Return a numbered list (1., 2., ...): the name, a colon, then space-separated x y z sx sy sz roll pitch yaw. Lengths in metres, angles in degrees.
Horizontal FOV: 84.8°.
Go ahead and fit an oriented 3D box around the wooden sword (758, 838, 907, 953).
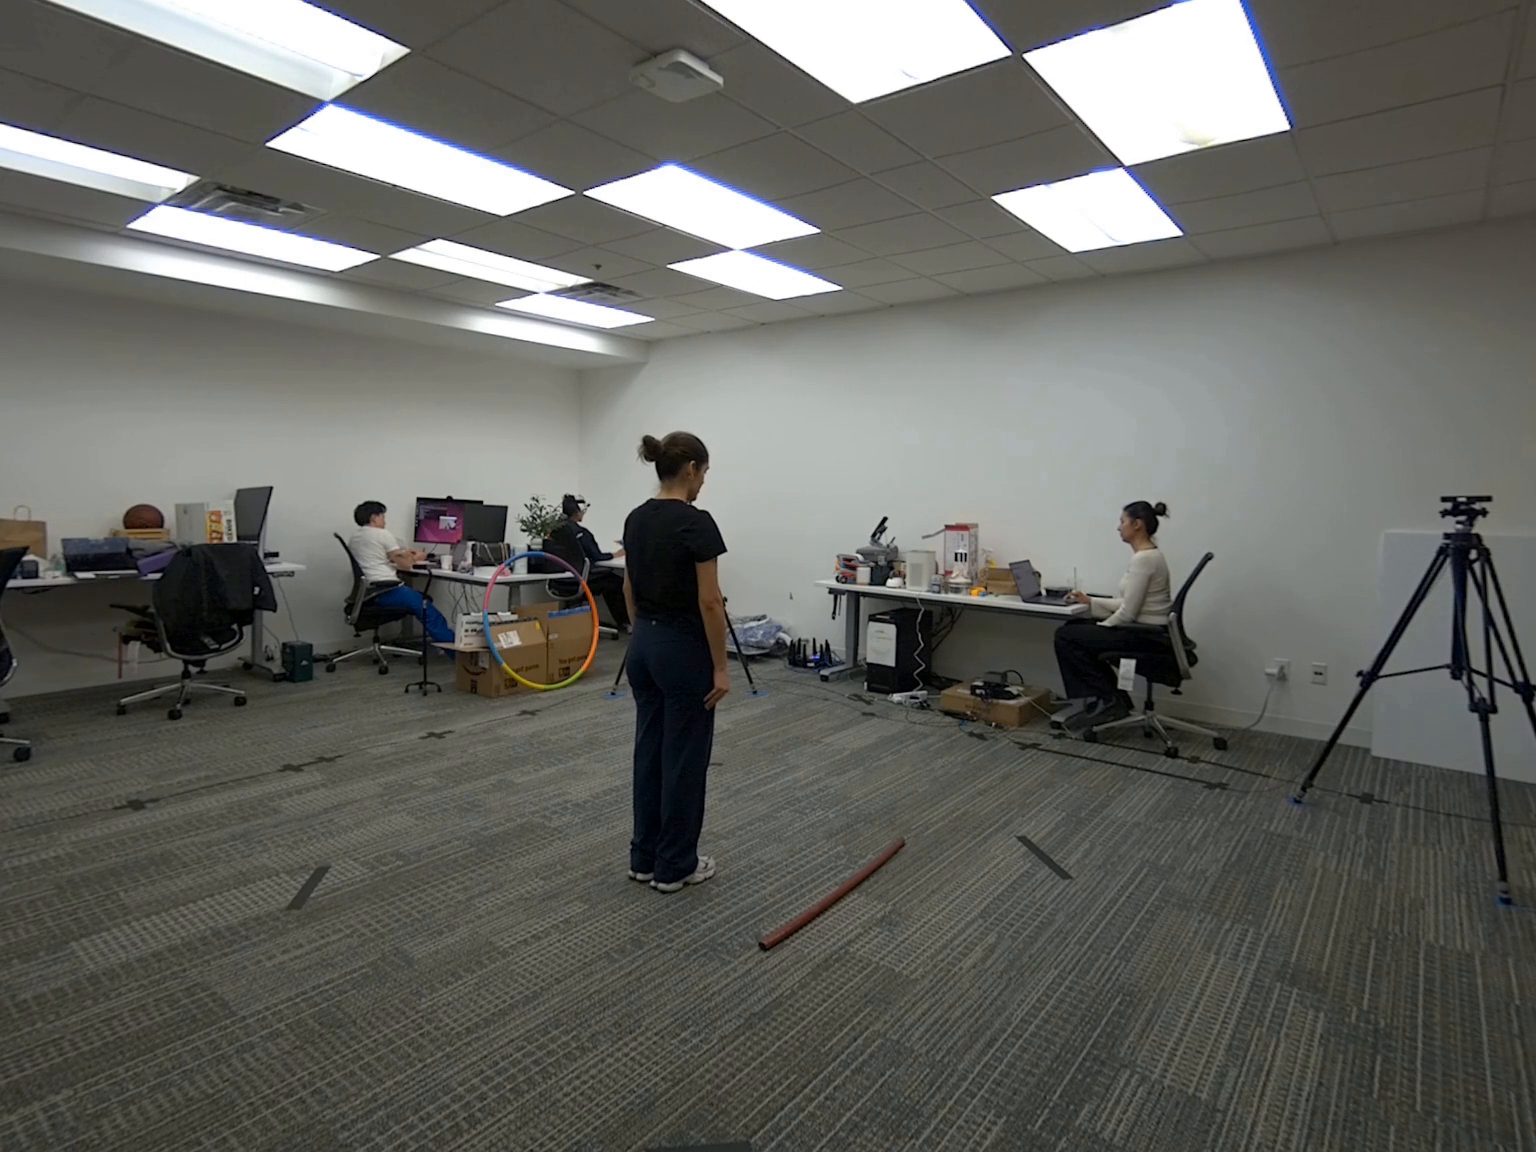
1. wooden sword: 0.268 1.067 2.974 0.053 0.024 0.997 12 11 32
